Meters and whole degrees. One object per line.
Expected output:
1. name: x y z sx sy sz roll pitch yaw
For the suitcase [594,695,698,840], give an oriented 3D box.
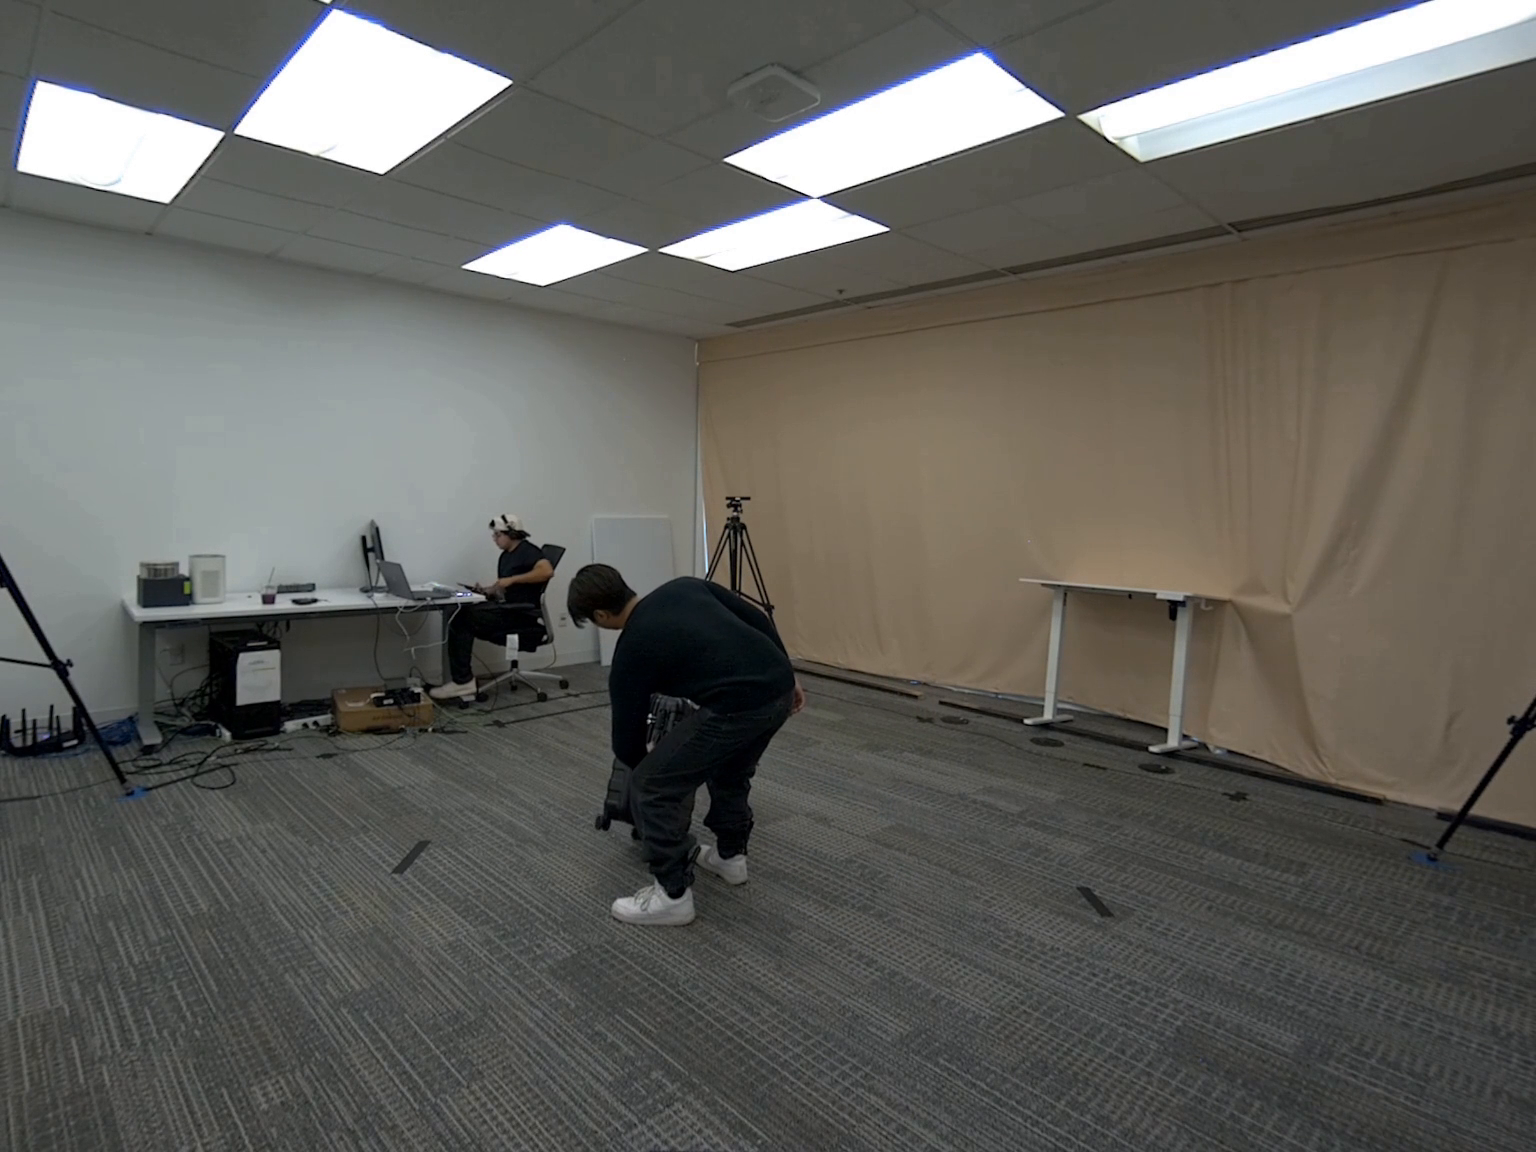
1. suitcase: -0.422 0.567 3.412 0.260 0.990 0.374 2 -22 15
